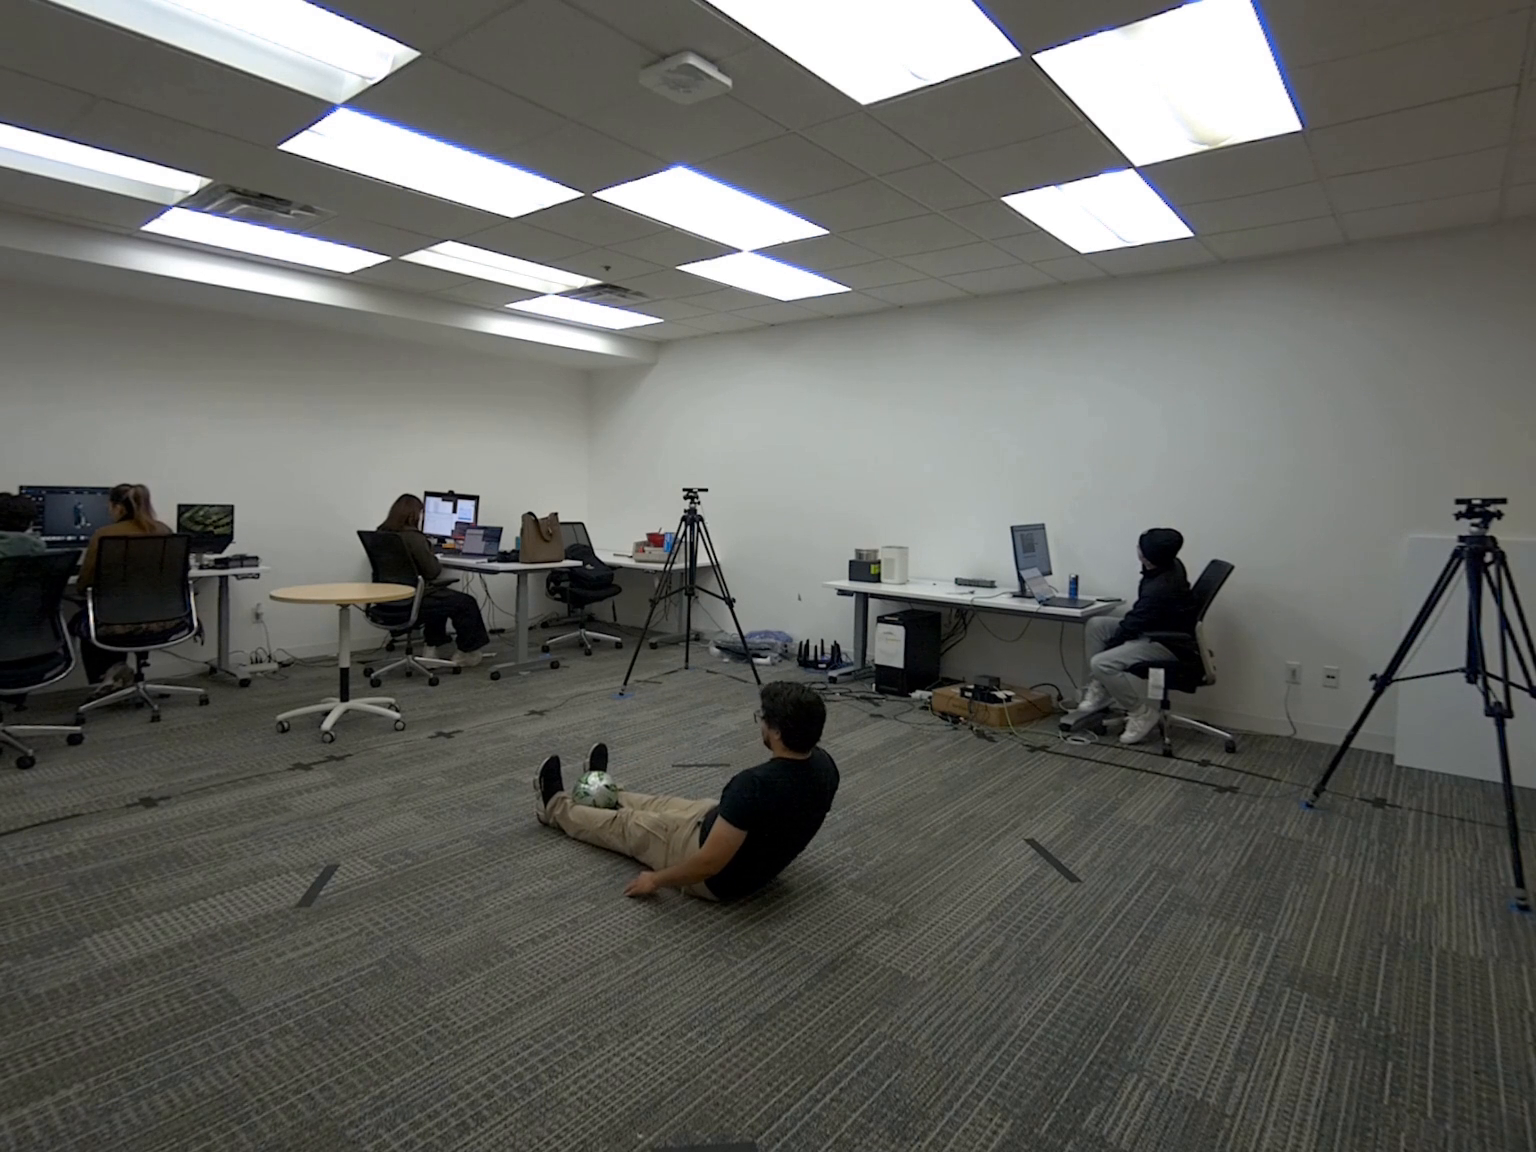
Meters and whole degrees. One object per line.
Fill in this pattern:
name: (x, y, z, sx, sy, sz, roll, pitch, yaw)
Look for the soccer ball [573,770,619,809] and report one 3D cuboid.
soccer ball: (-0.726, 0.890, 3.479, 0.187, 0.187, 0.188, 0, 4, -2)
